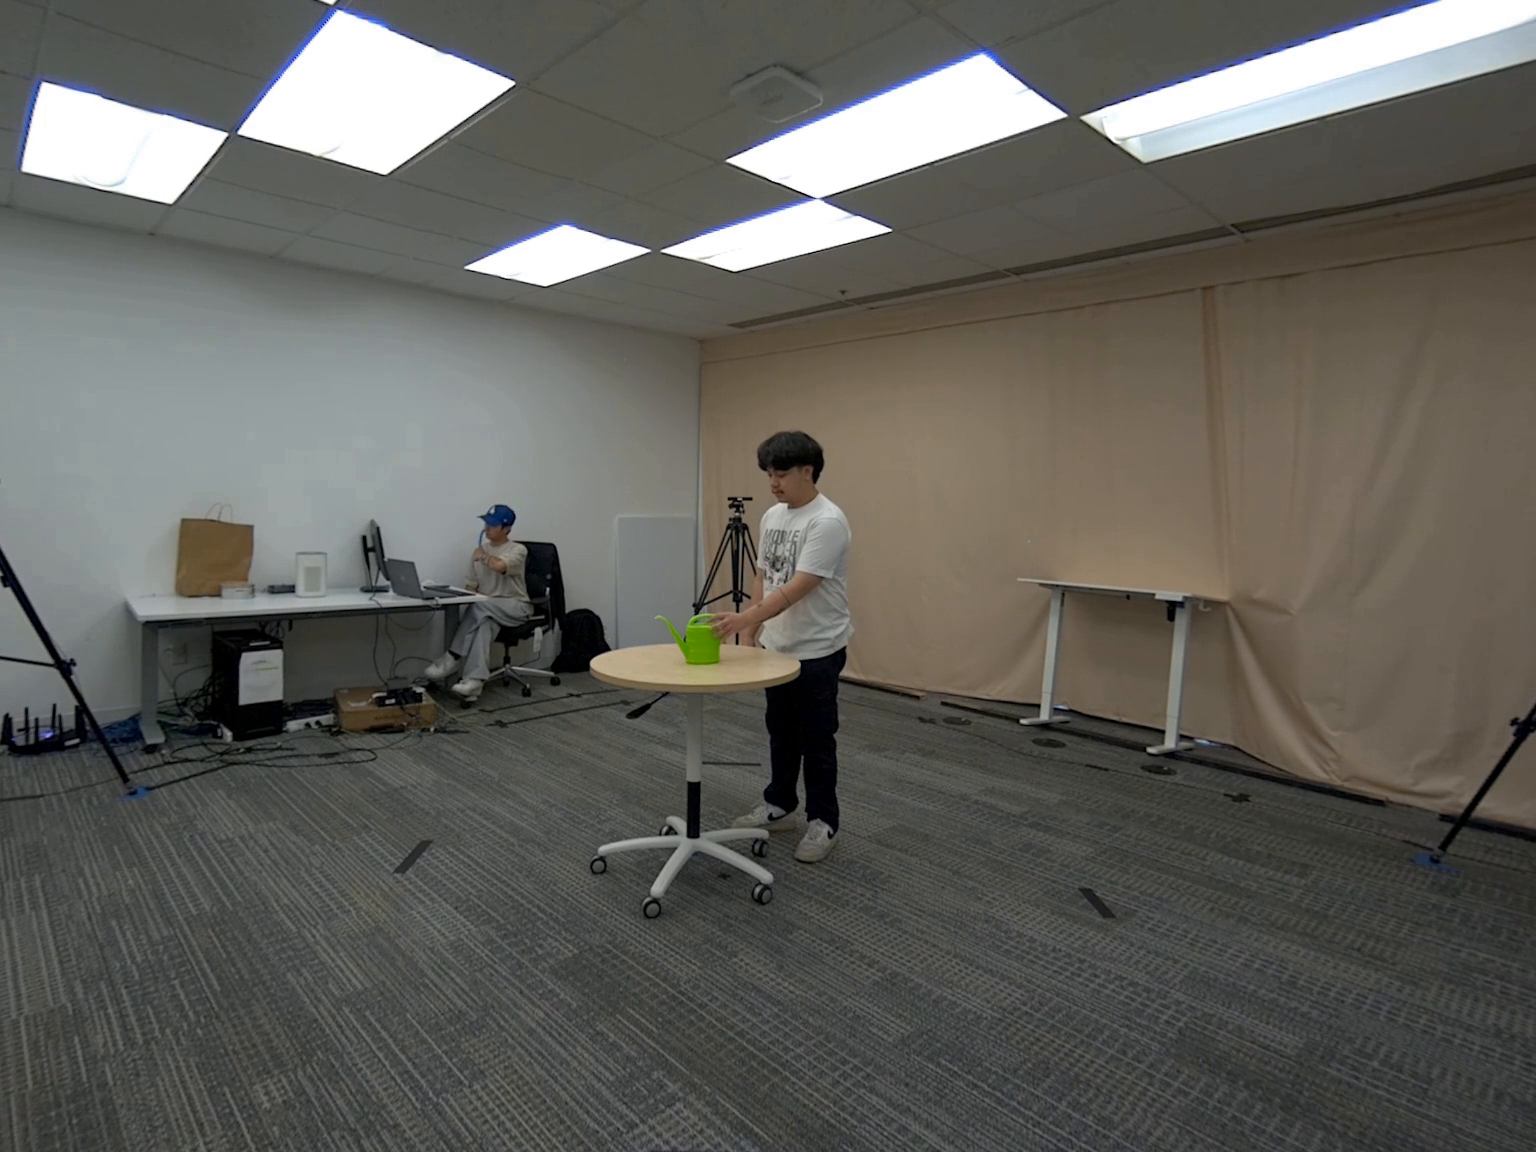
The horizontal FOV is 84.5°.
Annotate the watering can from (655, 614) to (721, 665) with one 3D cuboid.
[{"bbox_3d":[-0.289,0.230,3.057,0.275,0.177,0.099,1,1,-13],"label":"watering can"}]
